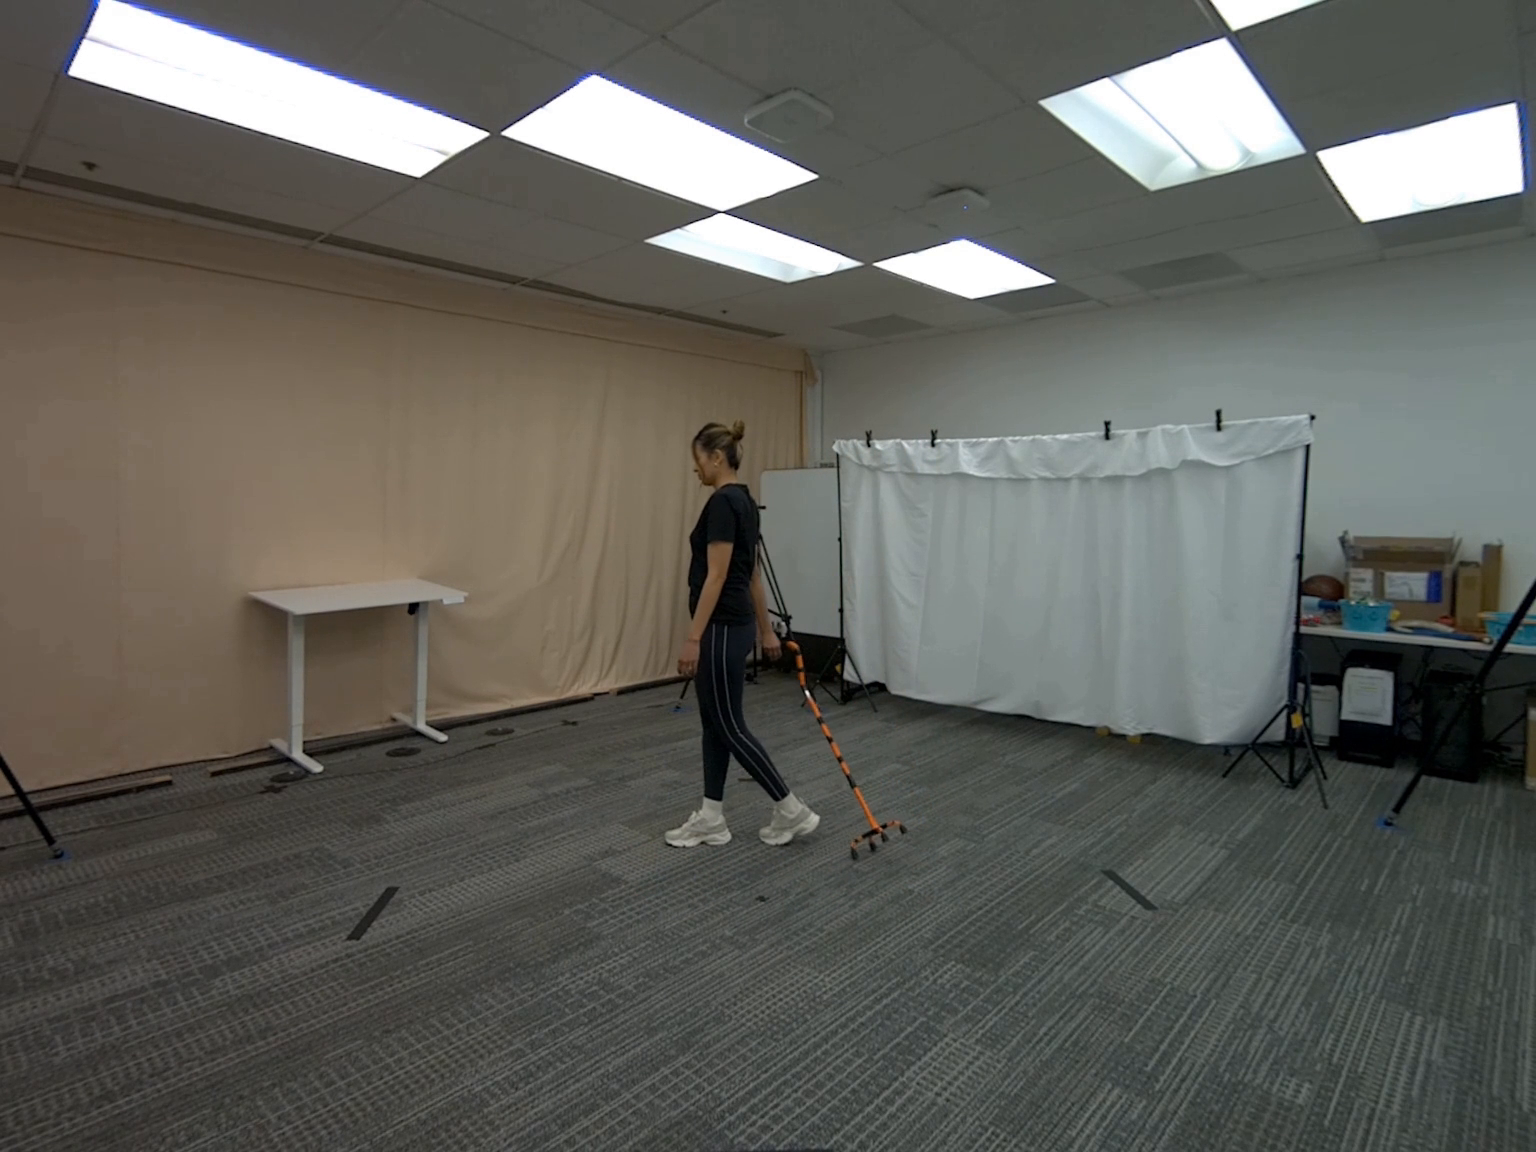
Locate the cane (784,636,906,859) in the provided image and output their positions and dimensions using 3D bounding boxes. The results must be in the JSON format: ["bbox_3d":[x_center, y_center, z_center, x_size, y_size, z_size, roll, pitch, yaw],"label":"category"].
[{"bbox_3d":[0.257,0.680,3.477,0.147,0.929,0.208,-3,-33,-43],"label":"cane"}]
